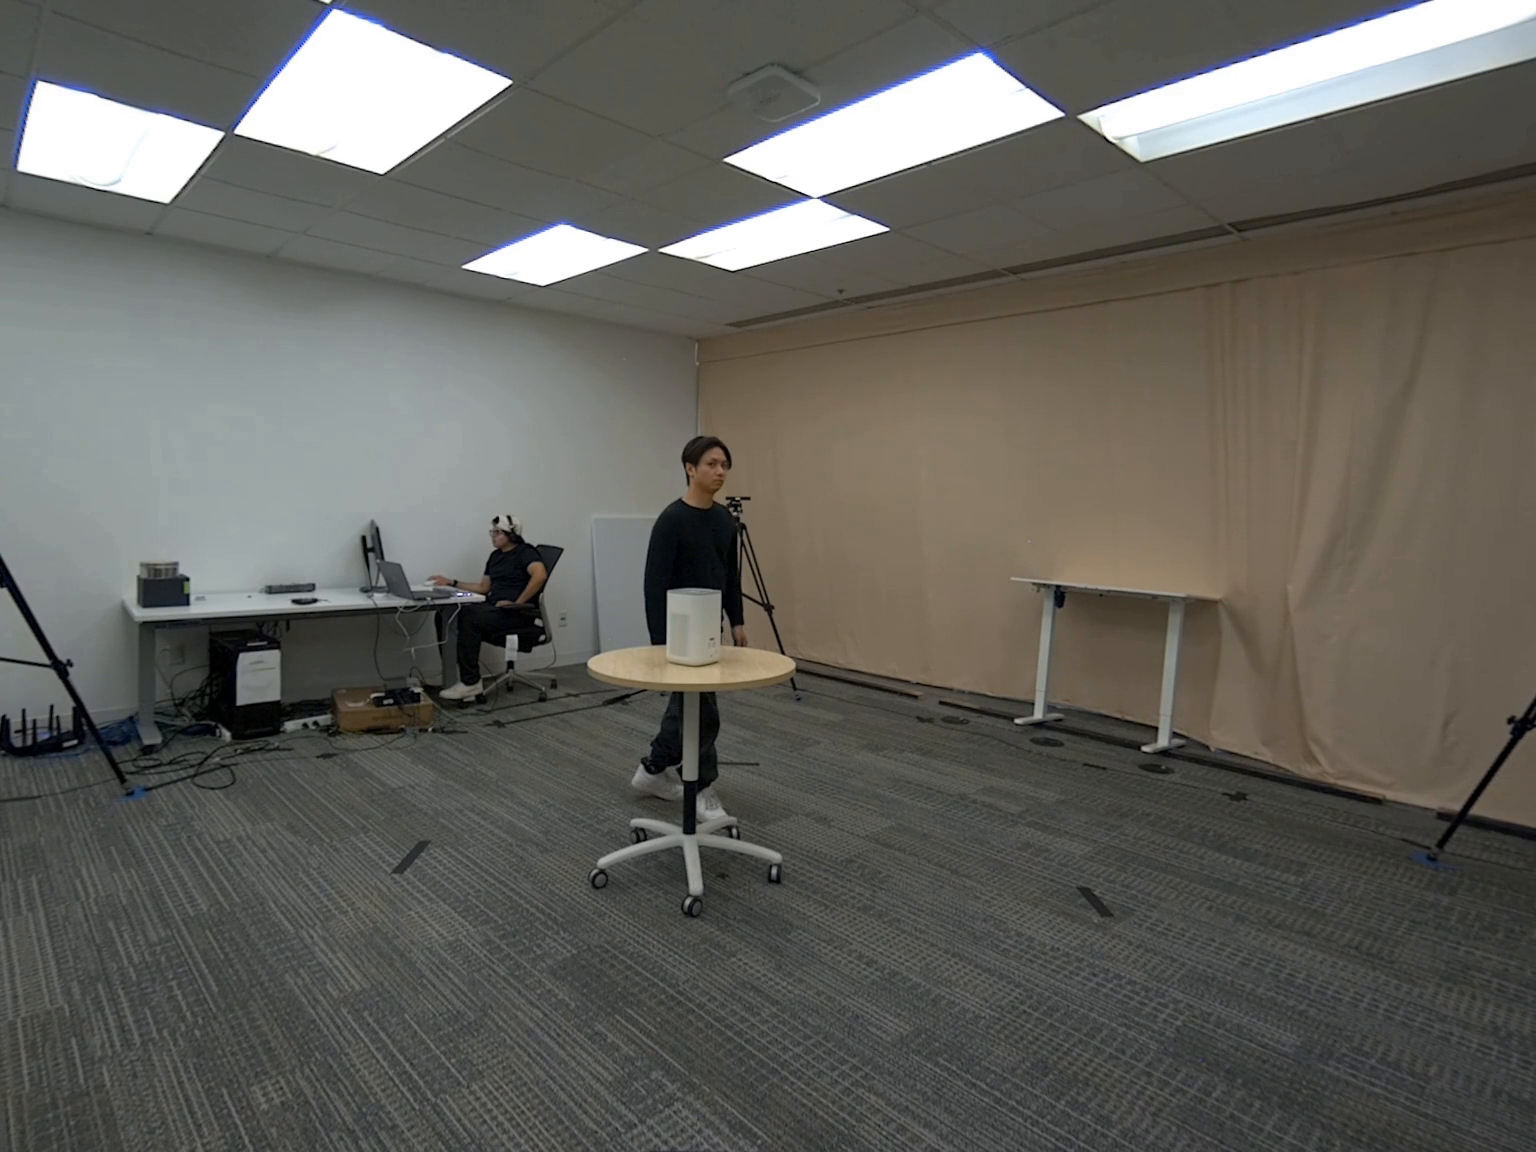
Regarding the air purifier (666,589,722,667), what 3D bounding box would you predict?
[{"bbox_3d":[-0.282,0.186,3.095,0.176,0.265,0.167,4,4,35],"label":"air purifier"}]
